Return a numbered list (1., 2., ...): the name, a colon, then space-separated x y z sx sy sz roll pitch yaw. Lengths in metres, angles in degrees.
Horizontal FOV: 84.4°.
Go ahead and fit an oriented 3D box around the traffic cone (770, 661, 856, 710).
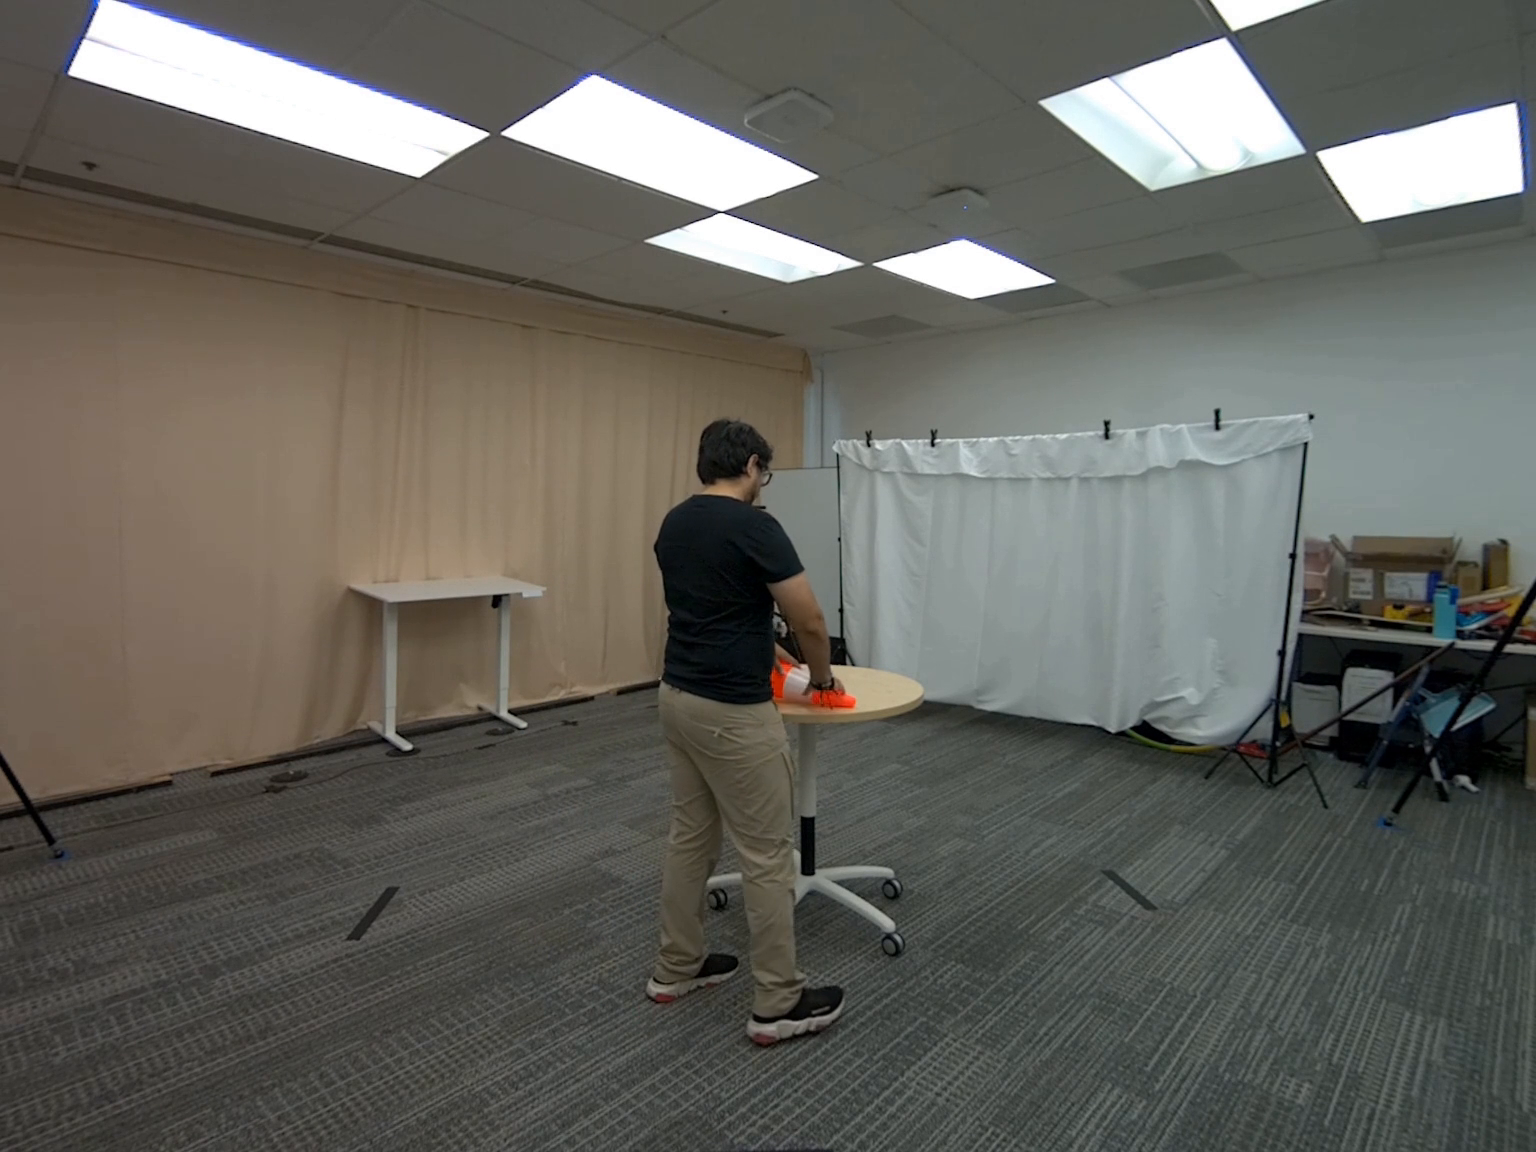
1. traffic cone: 0.096 0.343 2.606 0.394 0.203 0.200 17 9 25
